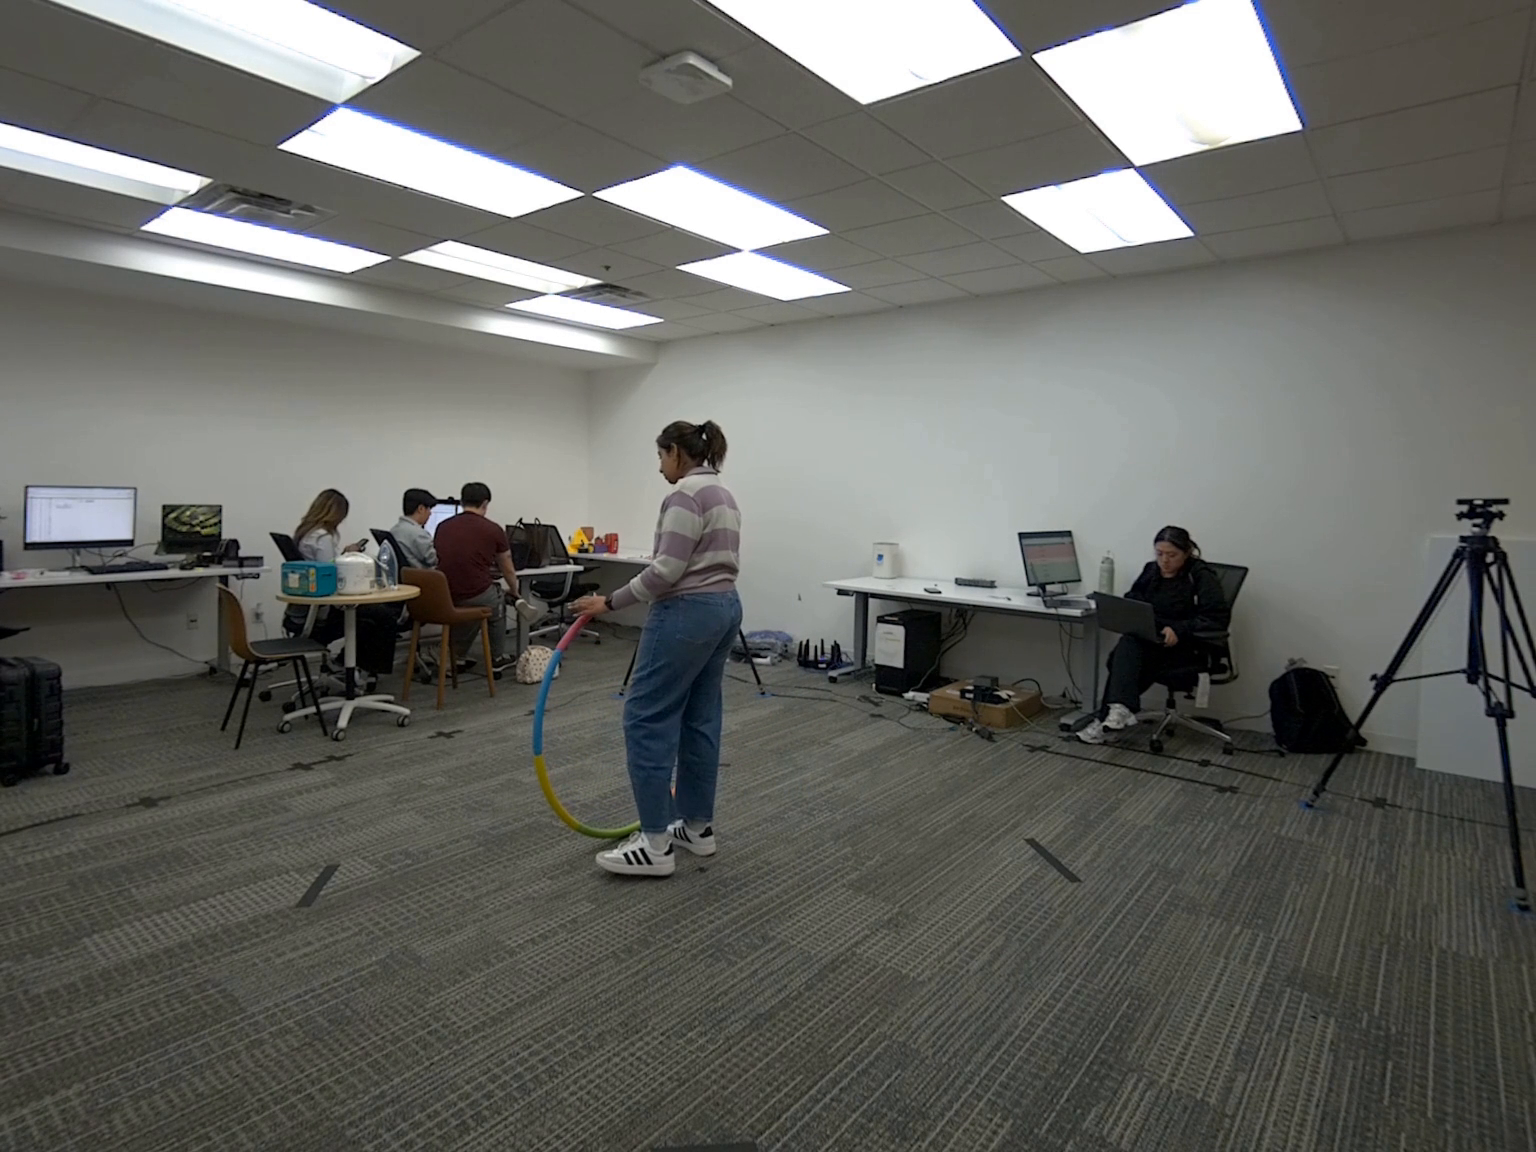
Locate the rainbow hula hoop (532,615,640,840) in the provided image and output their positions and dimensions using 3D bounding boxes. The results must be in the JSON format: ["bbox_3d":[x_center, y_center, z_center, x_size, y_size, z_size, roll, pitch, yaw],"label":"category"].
[{"bbox_3d":[-0.566,0.549,3.411,0.053,0.984,0.957,0,3,36],"label":"rainbow hula hoop"}]
